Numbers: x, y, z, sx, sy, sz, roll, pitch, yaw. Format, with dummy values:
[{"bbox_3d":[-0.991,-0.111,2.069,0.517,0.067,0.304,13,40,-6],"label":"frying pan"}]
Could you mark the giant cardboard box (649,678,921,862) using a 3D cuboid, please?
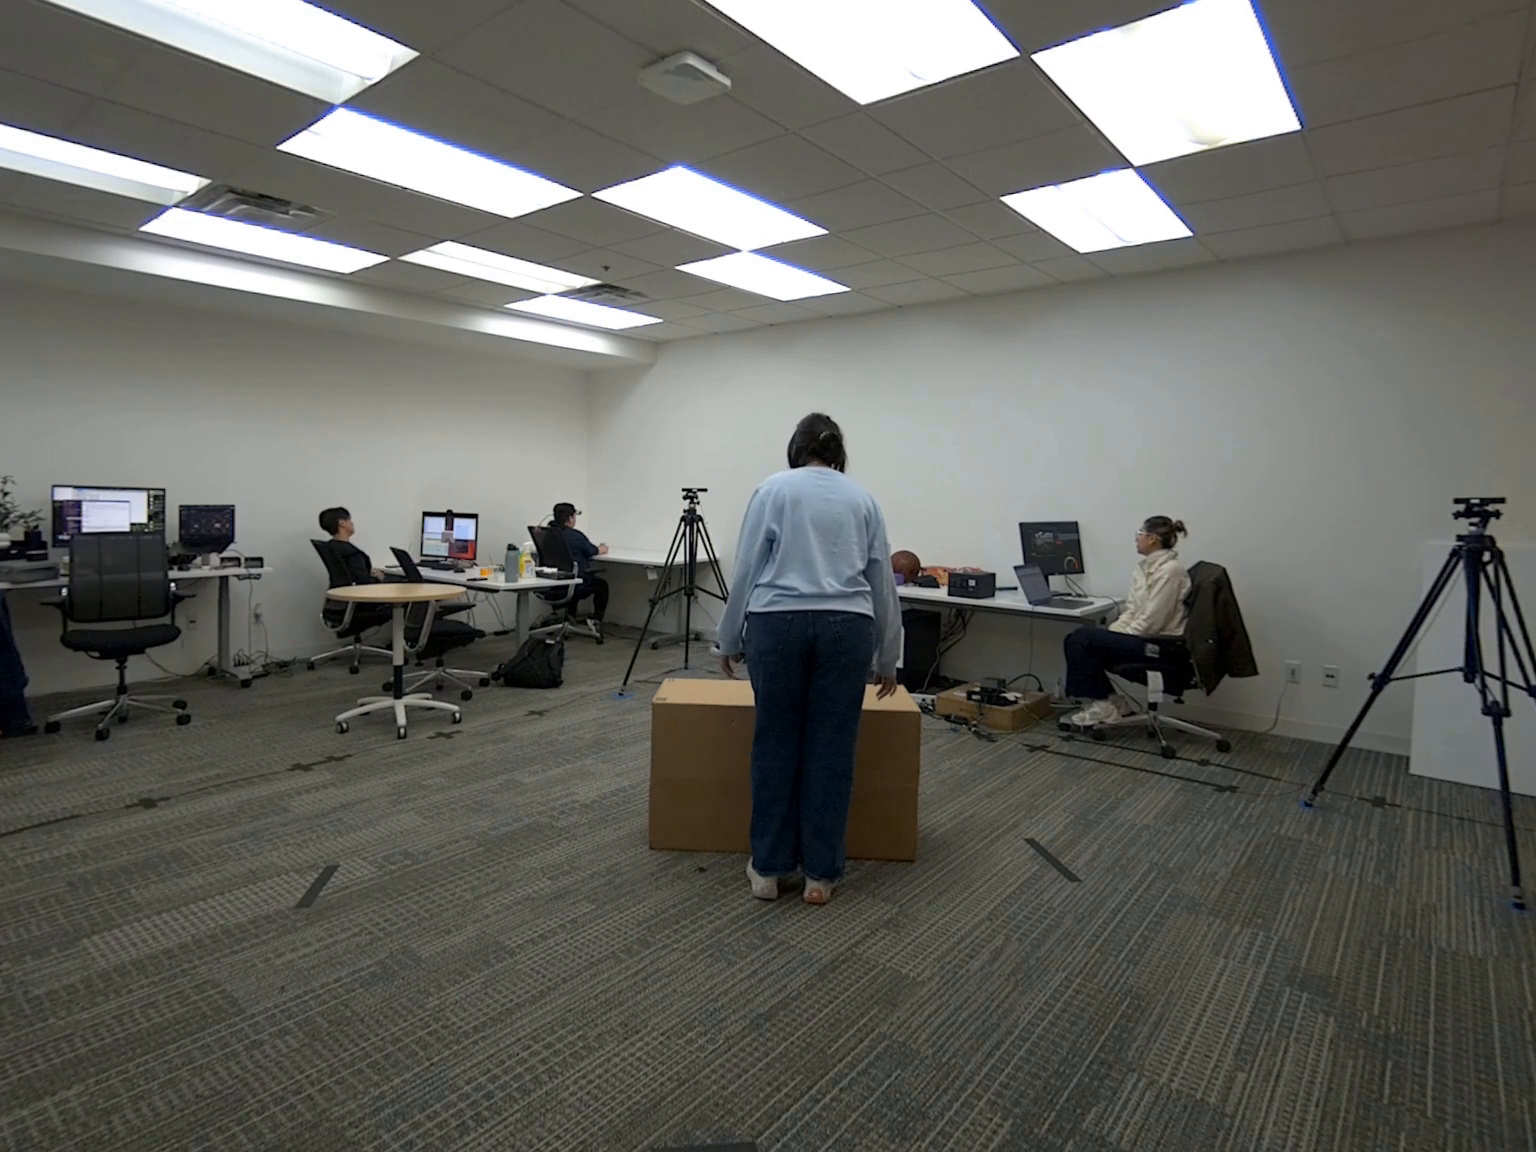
[{"bbox_3d":[0.050,0.751,3.438,1.030,0.576,0.425,1,3,3],"label":"giant cardboard box"}]
